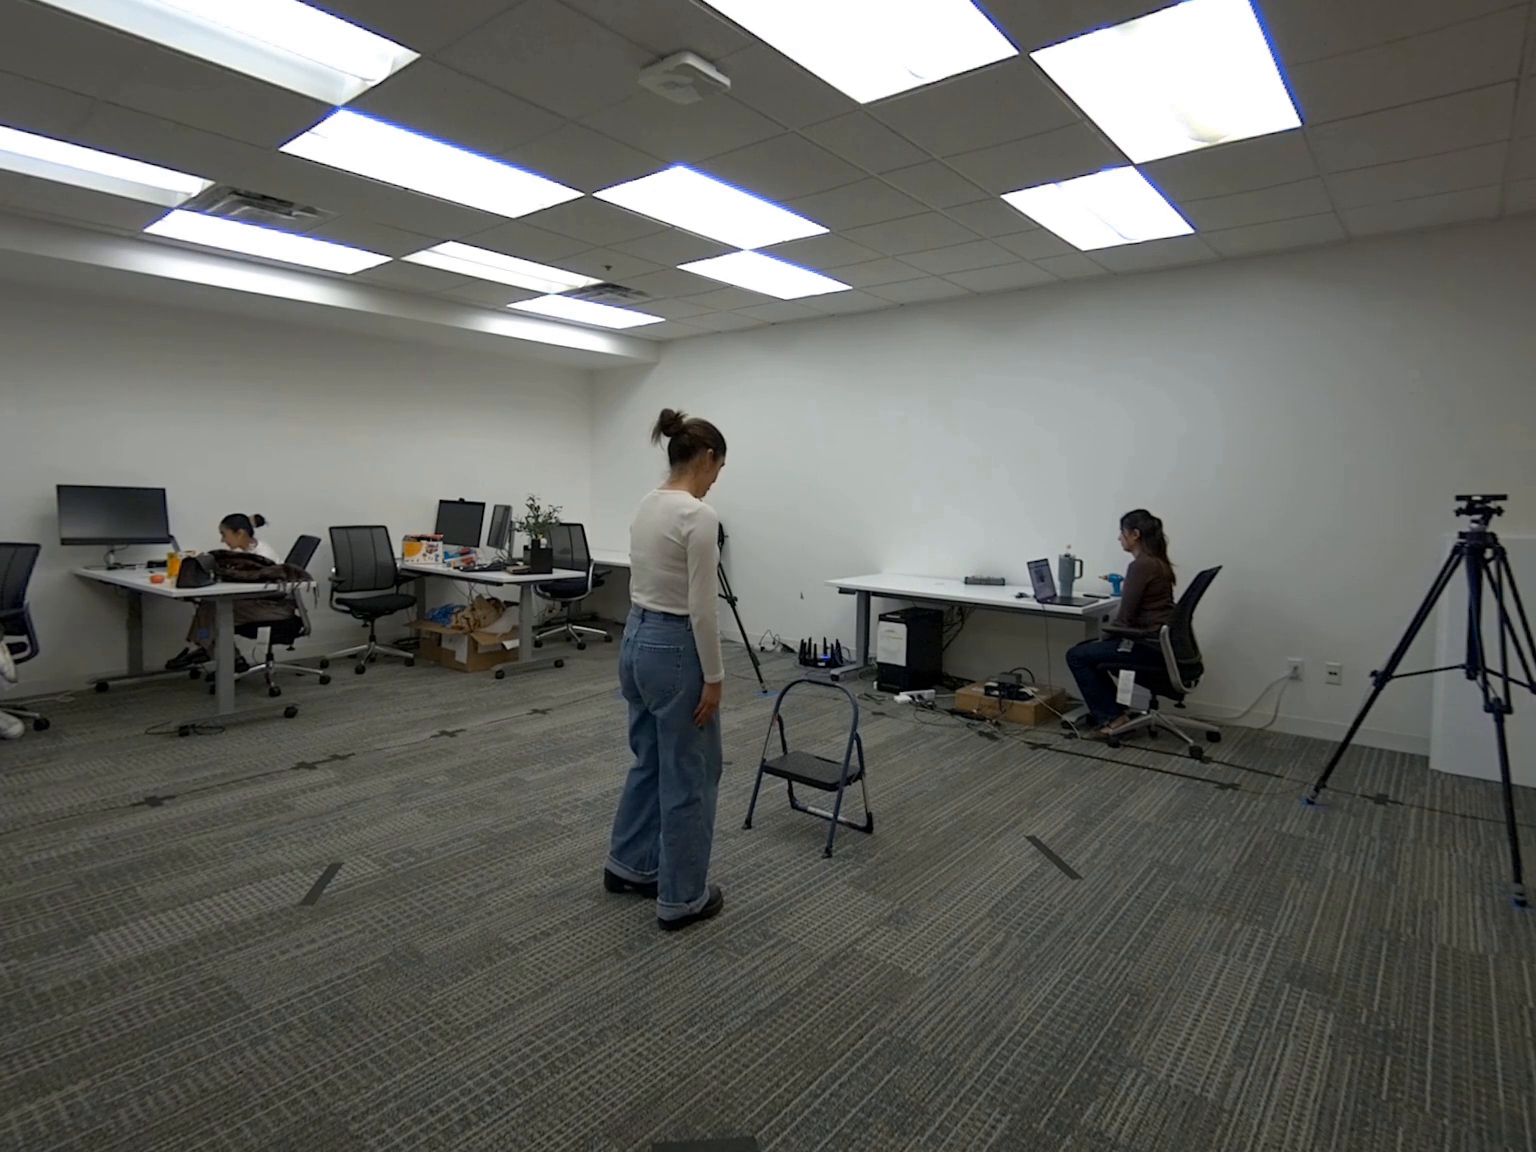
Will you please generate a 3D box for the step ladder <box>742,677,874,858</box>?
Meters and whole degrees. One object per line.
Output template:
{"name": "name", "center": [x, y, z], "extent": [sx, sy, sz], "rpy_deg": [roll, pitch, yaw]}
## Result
{"name": "step ladder", "center": [0.164, 0.733, 3.461], "extent": [0.445, 0.604, 0.339], "rpy_deg": [4, 5, 39]}
